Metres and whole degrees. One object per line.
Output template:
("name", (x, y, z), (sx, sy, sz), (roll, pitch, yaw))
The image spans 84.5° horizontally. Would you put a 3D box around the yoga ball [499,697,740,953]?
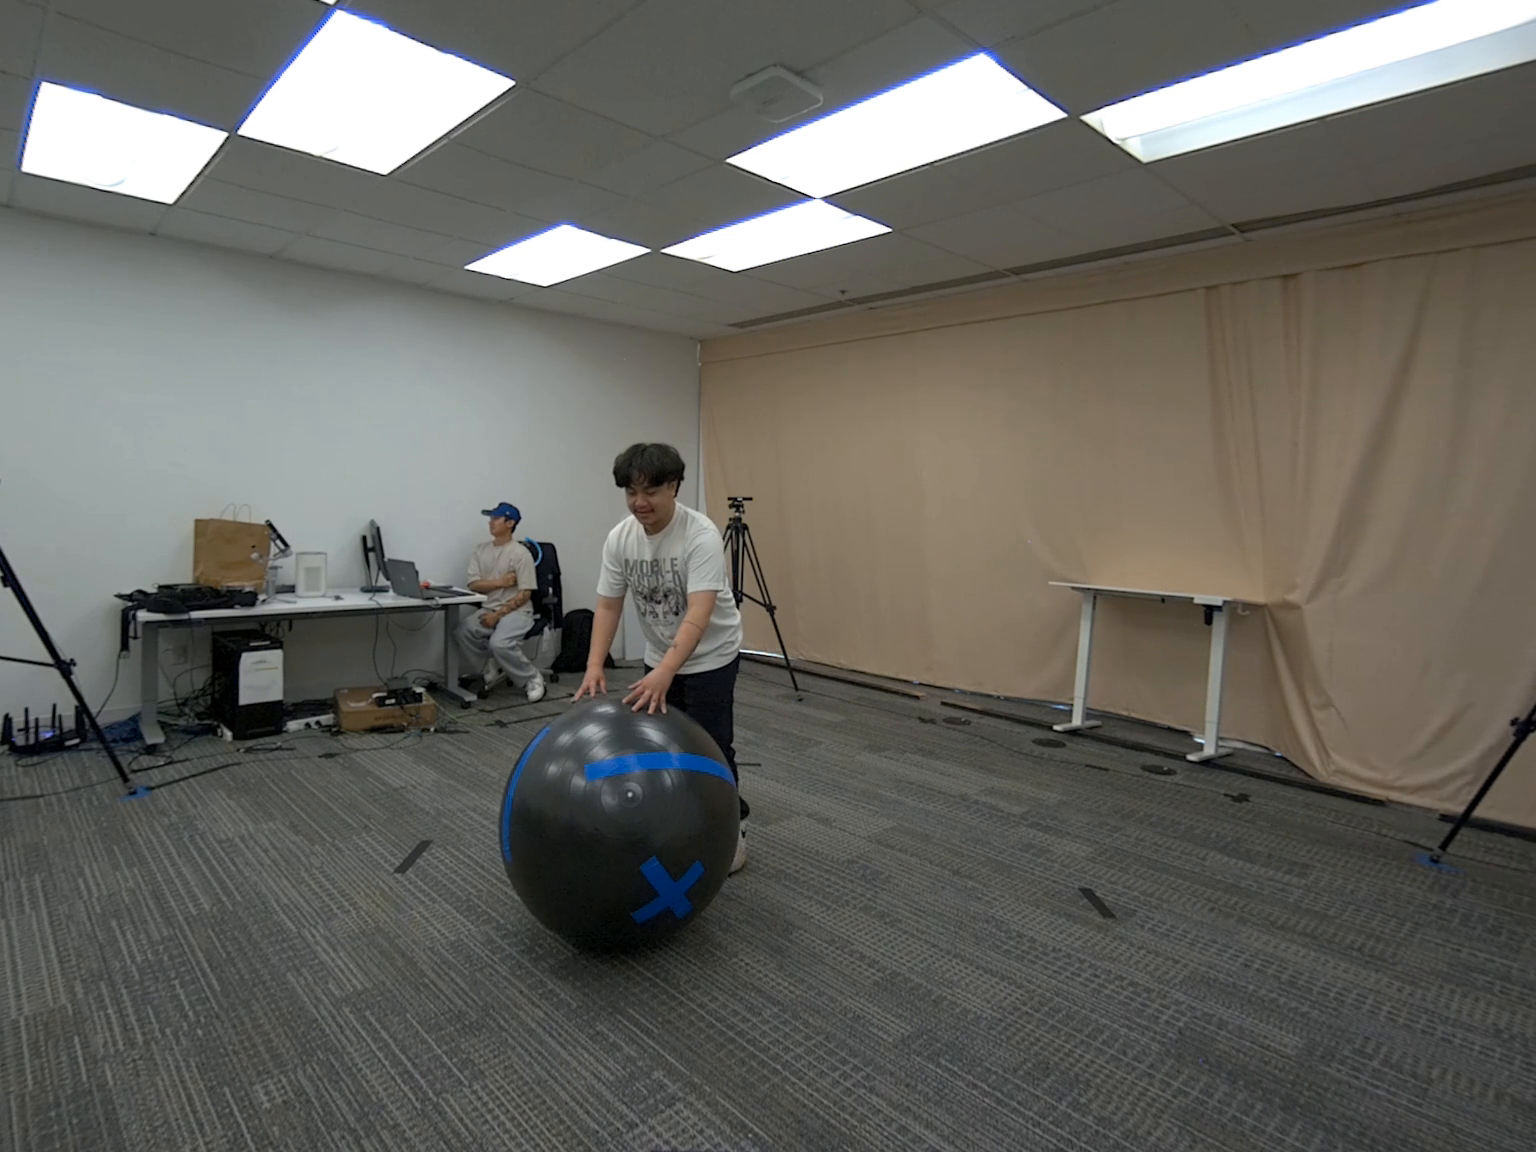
("yoga ball", (-0.475, 0.777, 2.670), (0.757, 0.756, 0.761), (1, 4, -1))
